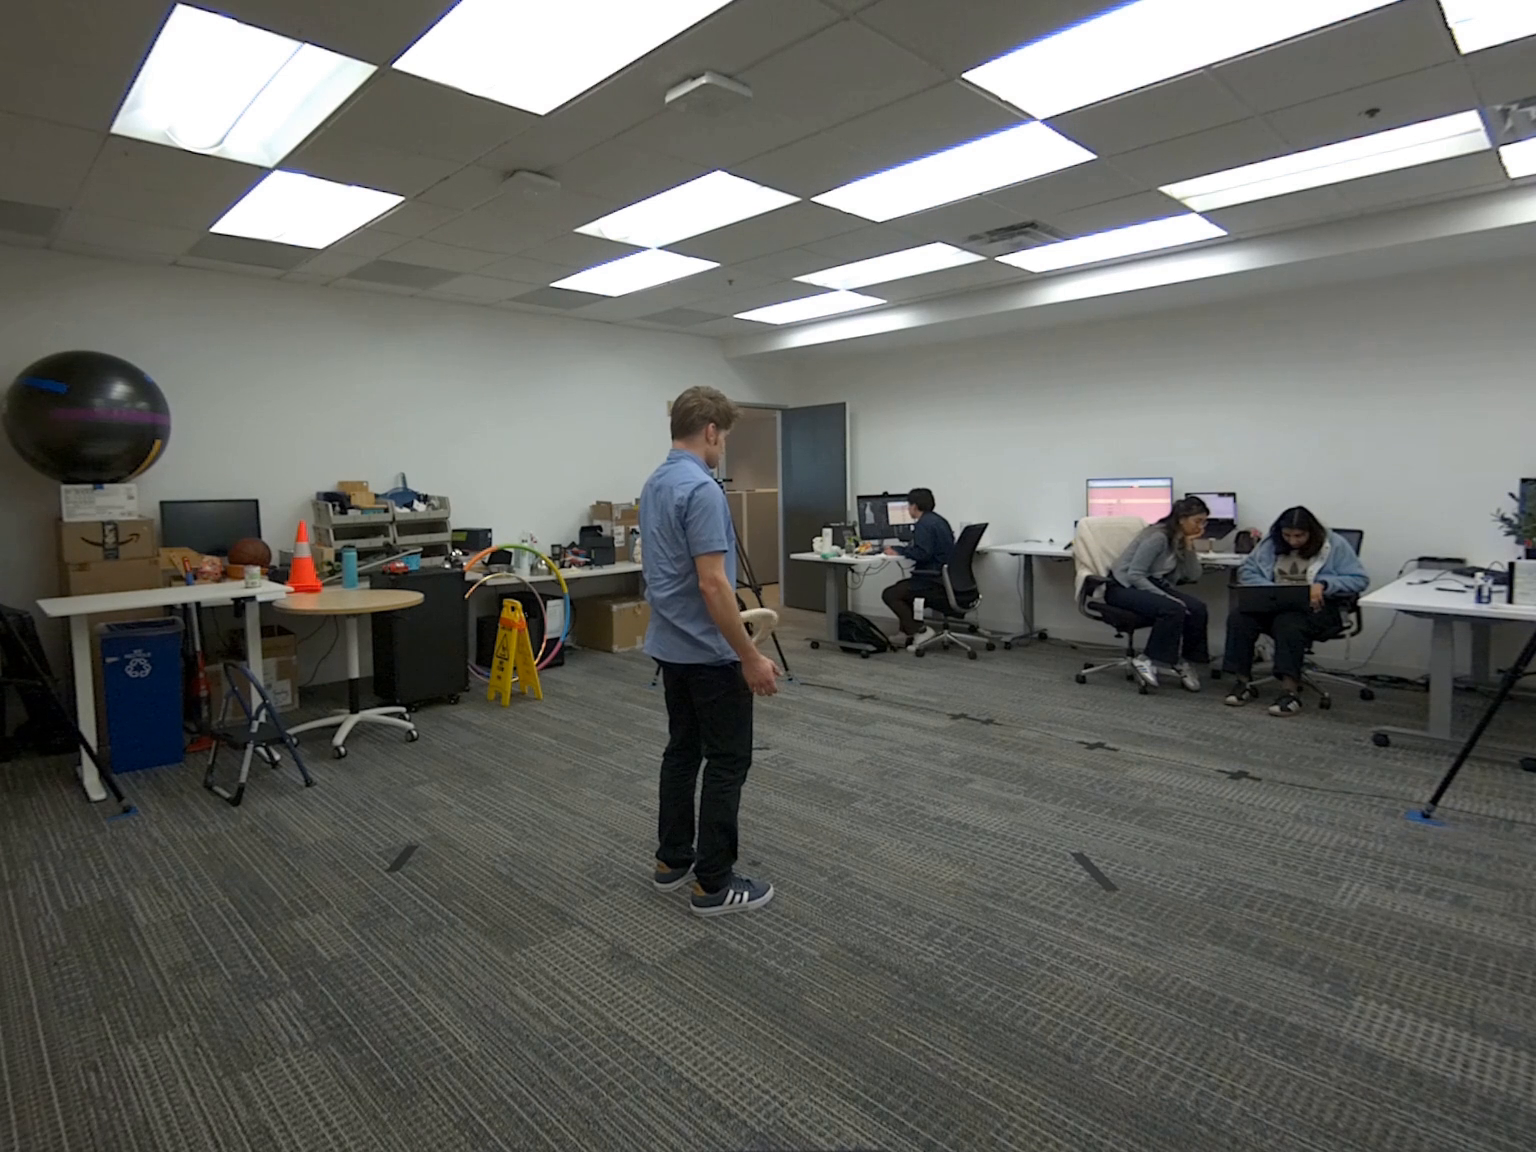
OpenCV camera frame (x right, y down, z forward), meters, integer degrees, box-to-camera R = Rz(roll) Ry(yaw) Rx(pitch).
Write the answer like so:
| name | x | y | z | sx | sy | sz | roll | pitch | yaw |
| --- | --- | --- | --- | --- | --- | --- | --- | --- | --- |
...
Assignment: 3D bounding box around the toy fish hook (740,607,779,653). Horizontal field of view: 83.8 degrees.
| name | x | y | z | sx | sy | sz | roll | pitch | yaw |
| --- | --- | --- | --- | --- | --- | --- | --- | --- | --- |
| toy fish hook | -0.163 | 0.199 | 3.273 | 0.493 | 0.222 | 0.050 | -1 | 36 | -36 |
